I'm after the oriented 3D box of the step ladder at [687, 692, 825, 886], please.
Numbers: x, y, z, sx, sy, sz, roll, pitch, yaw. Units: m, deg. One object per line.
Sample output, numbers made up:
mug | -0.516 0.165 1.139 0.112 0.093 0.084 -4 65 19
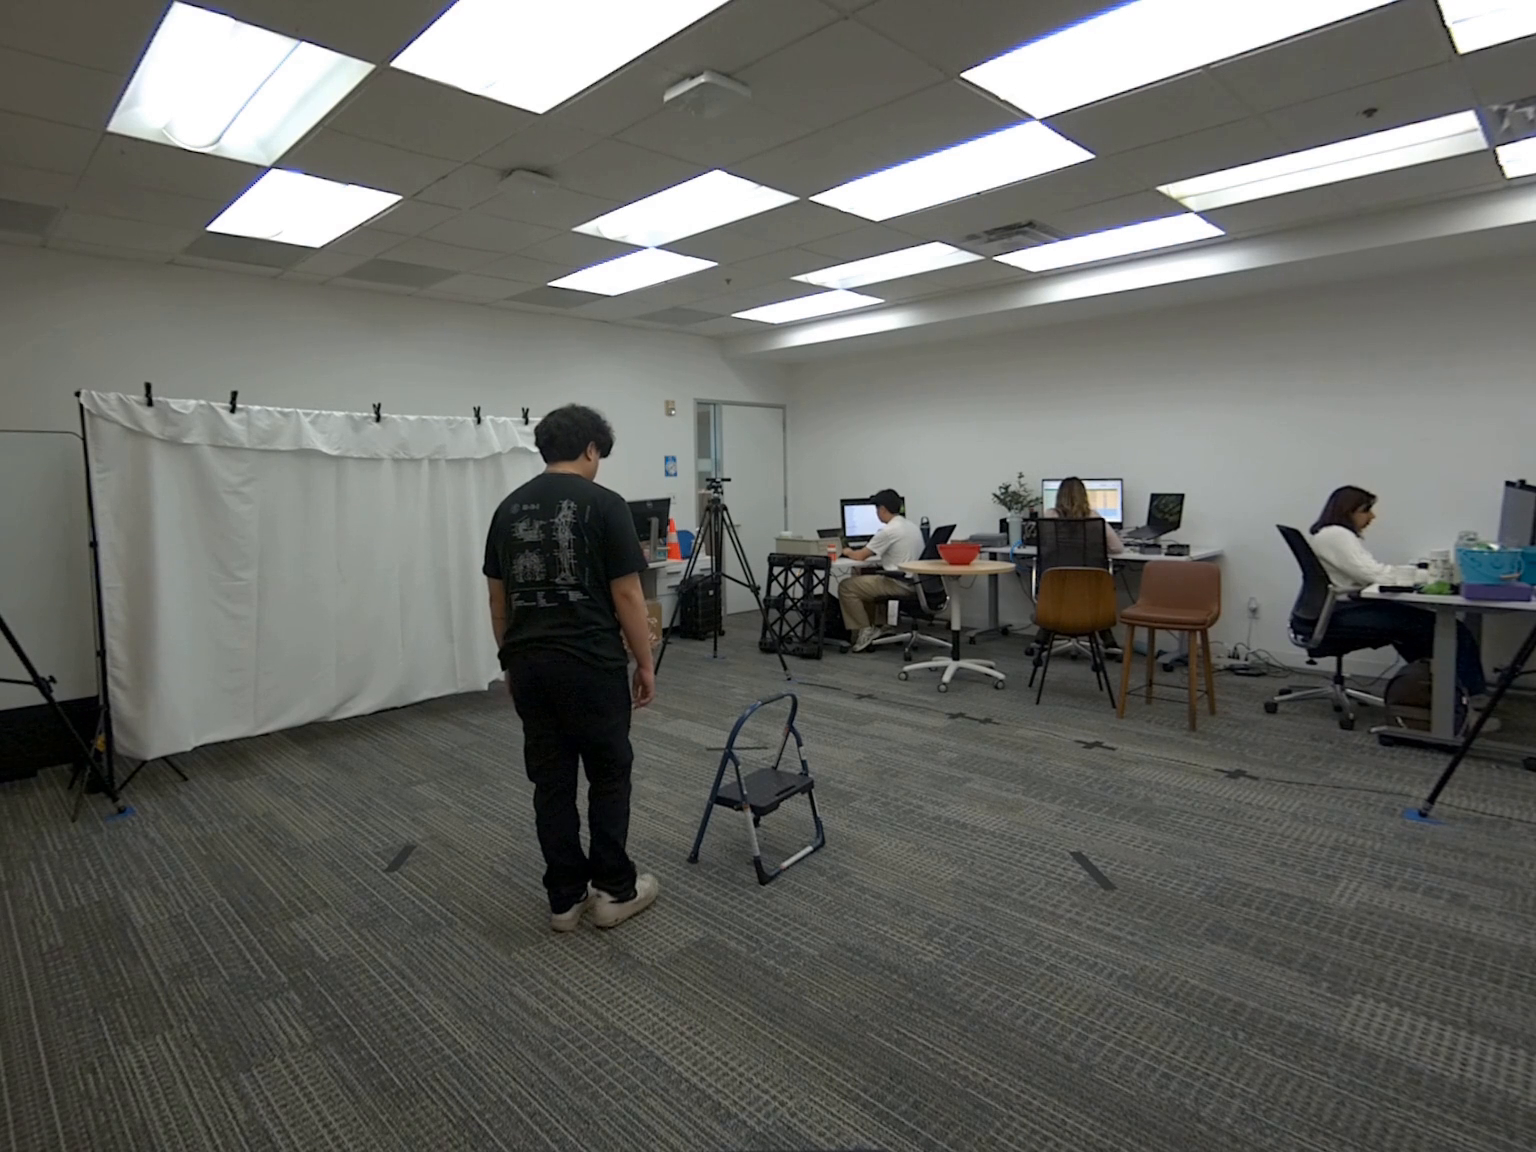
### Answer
step ladder | -0.041 0.730 3.172 0.359 0.604 0.420 2 5 36
